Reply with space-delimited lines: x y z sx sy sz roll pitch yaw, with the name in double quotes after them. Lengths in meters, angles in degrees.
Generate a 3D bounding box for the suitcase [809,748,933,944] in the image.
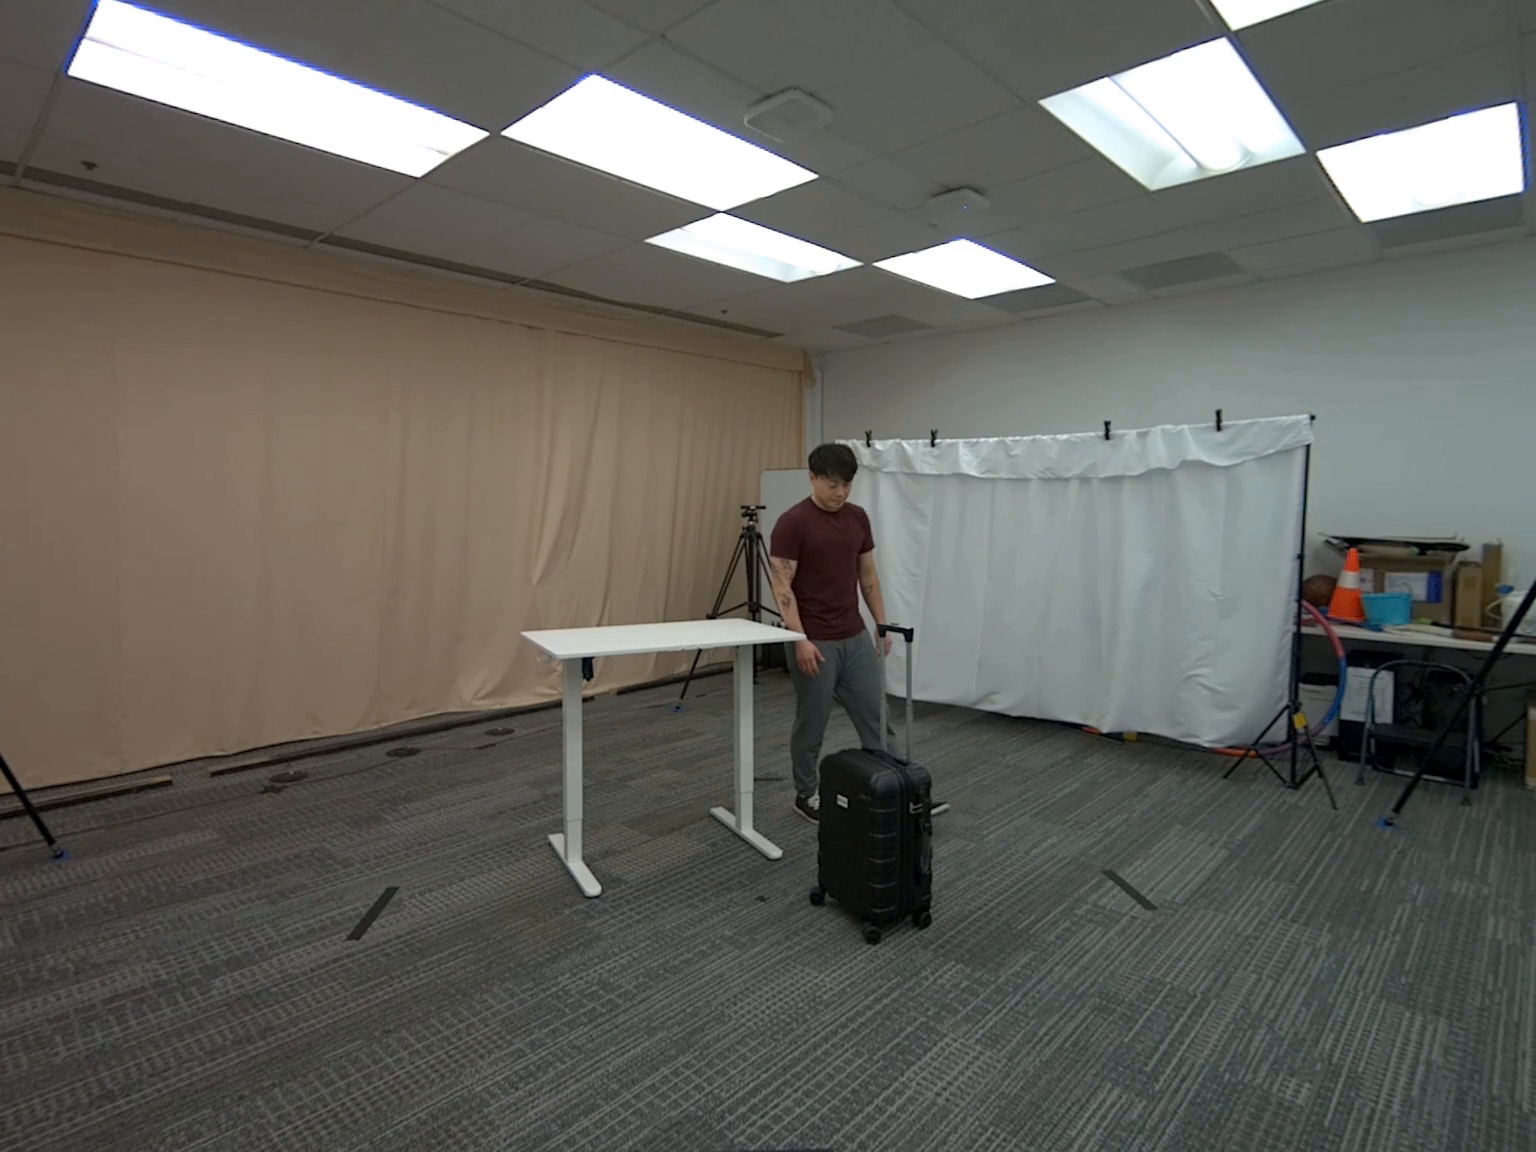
0.356 0.672 2.843 0.250 0.977 0.395 -3 3 -30 "suitcase"
